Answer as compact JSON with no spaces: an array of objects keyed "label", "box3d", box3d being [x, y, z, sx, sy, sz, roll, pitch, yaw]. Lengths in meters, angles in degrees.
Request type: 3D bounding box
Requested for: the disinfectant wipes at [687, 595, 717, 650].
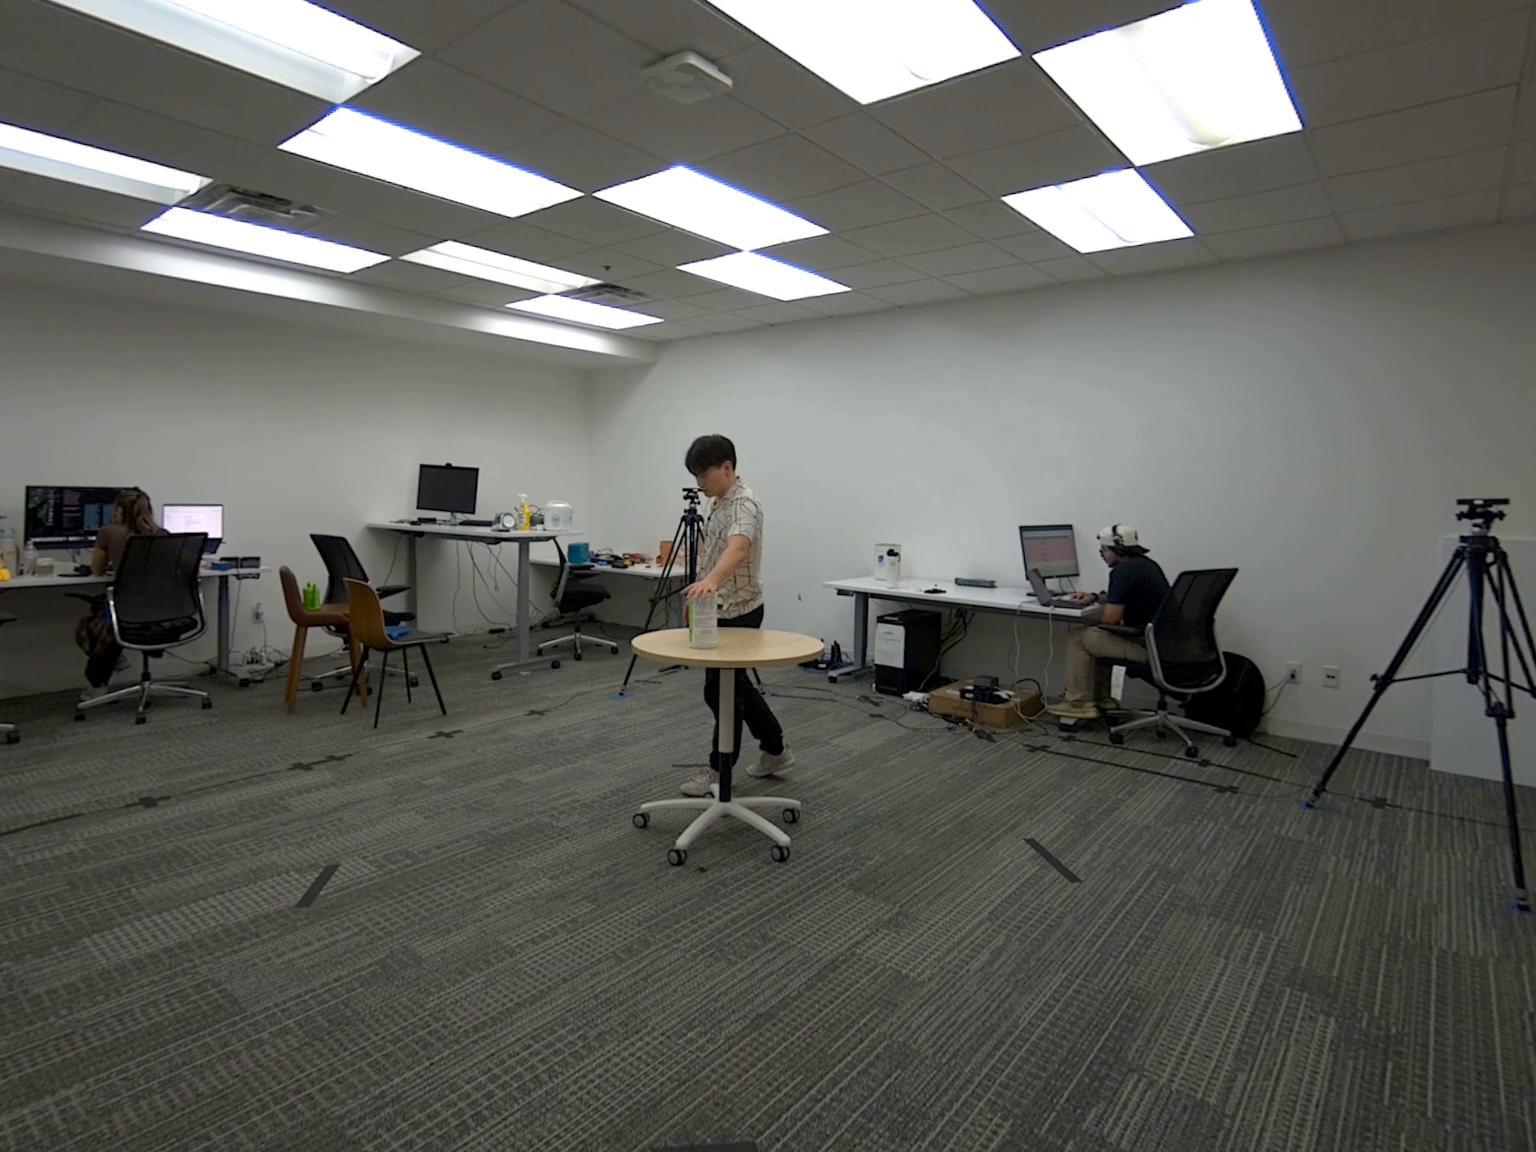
[{"label":"disinfectant wipes","box3d":[-0.262,0.167,3.281,0.118,0.217,0.118,-1,1,-2]}]
